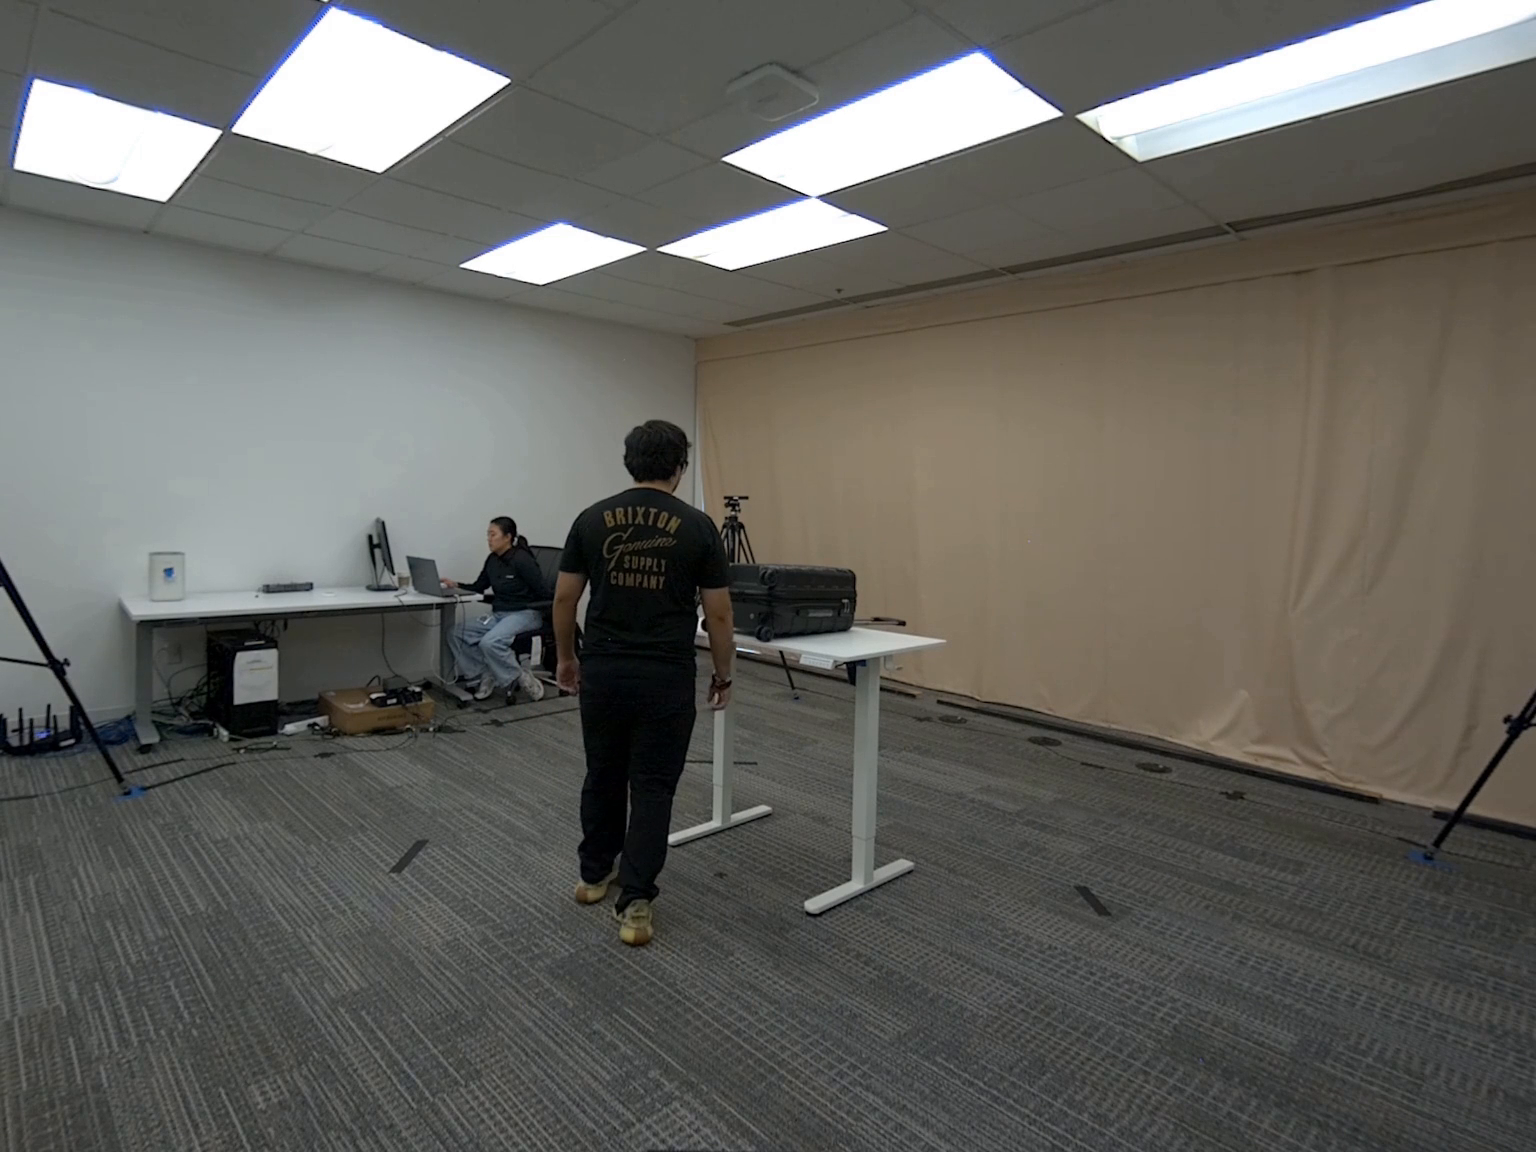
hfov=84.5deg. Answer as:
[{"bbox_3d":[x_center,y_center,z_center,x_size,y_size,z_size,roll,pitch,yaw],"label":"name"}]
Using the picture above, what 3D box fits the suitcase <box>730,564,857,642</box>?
[{"bbox_3d":[0.208,0.088,3.376,0.955,0.257,0.393,-1,3,-44],"label":"suitcase"}]
